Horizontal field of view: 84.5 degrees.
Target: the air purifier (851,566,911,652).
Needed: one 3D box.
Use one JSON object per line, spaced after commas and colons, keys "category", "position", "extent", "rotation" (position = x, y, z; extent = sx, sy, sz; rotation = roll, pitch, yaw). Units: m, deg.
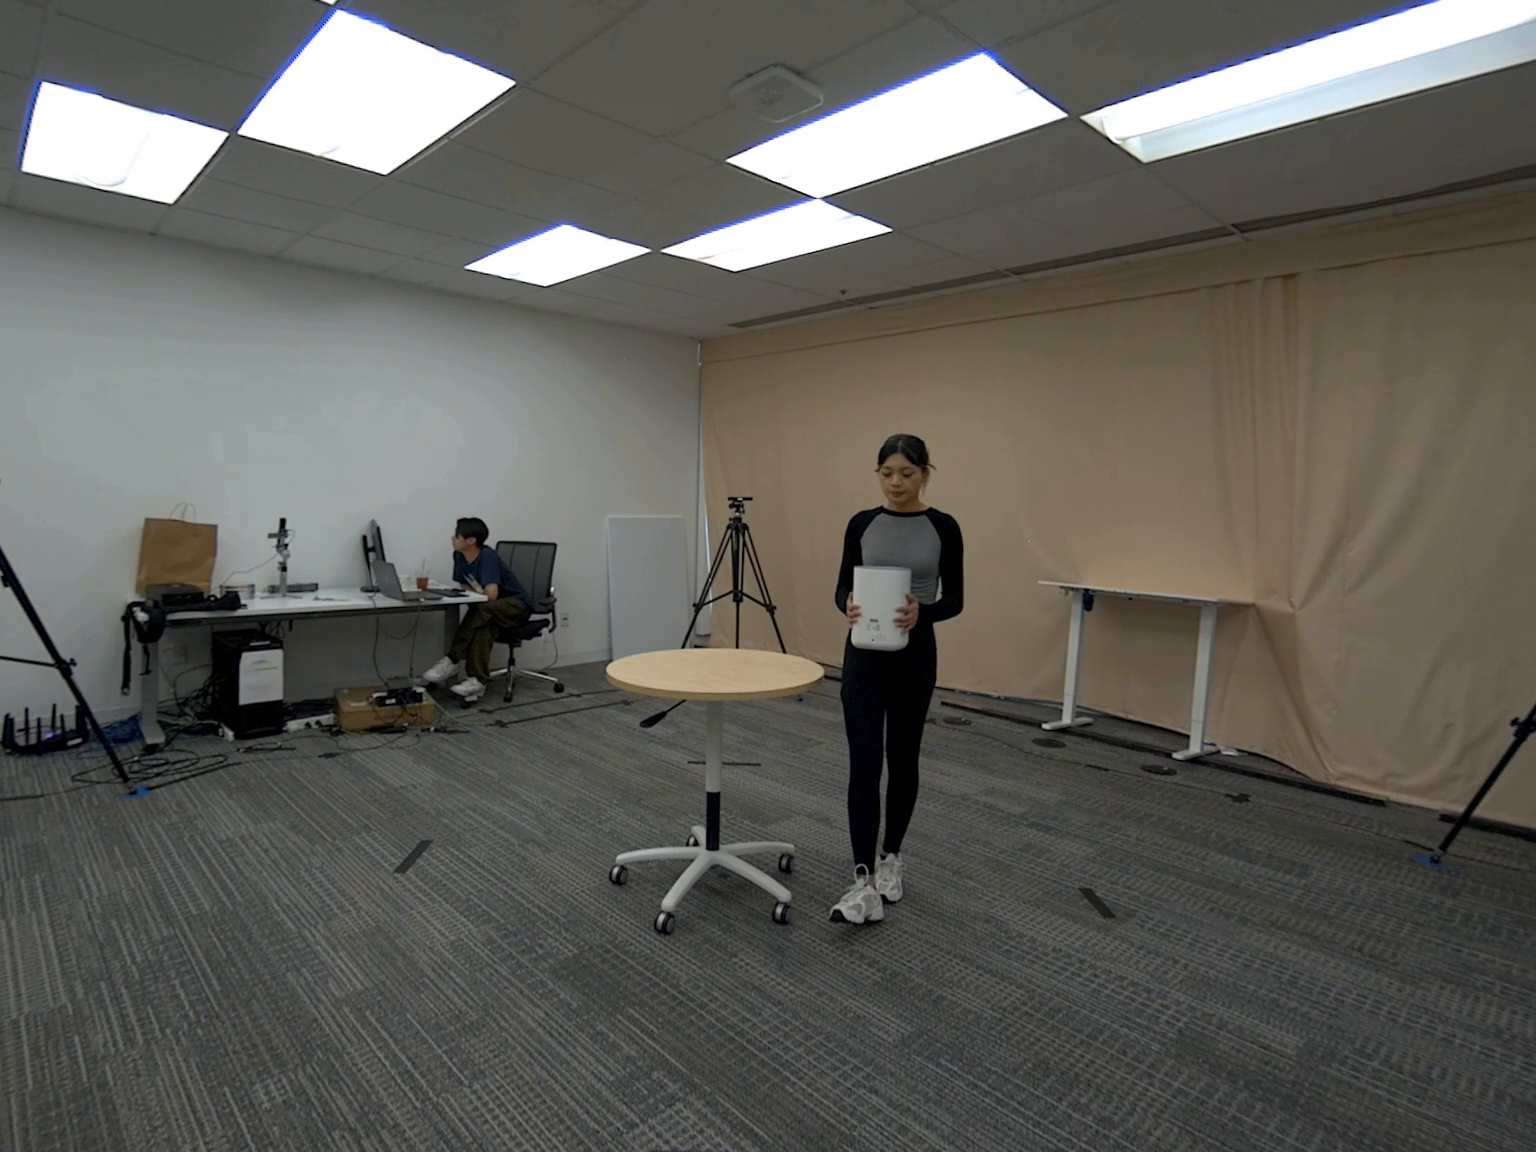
{"category": "air purifier", "position": [0.369, 0.106, 2.743], "extent": [0.173, 0.265, 0.169], "rotation": [3, 0, 13]}
